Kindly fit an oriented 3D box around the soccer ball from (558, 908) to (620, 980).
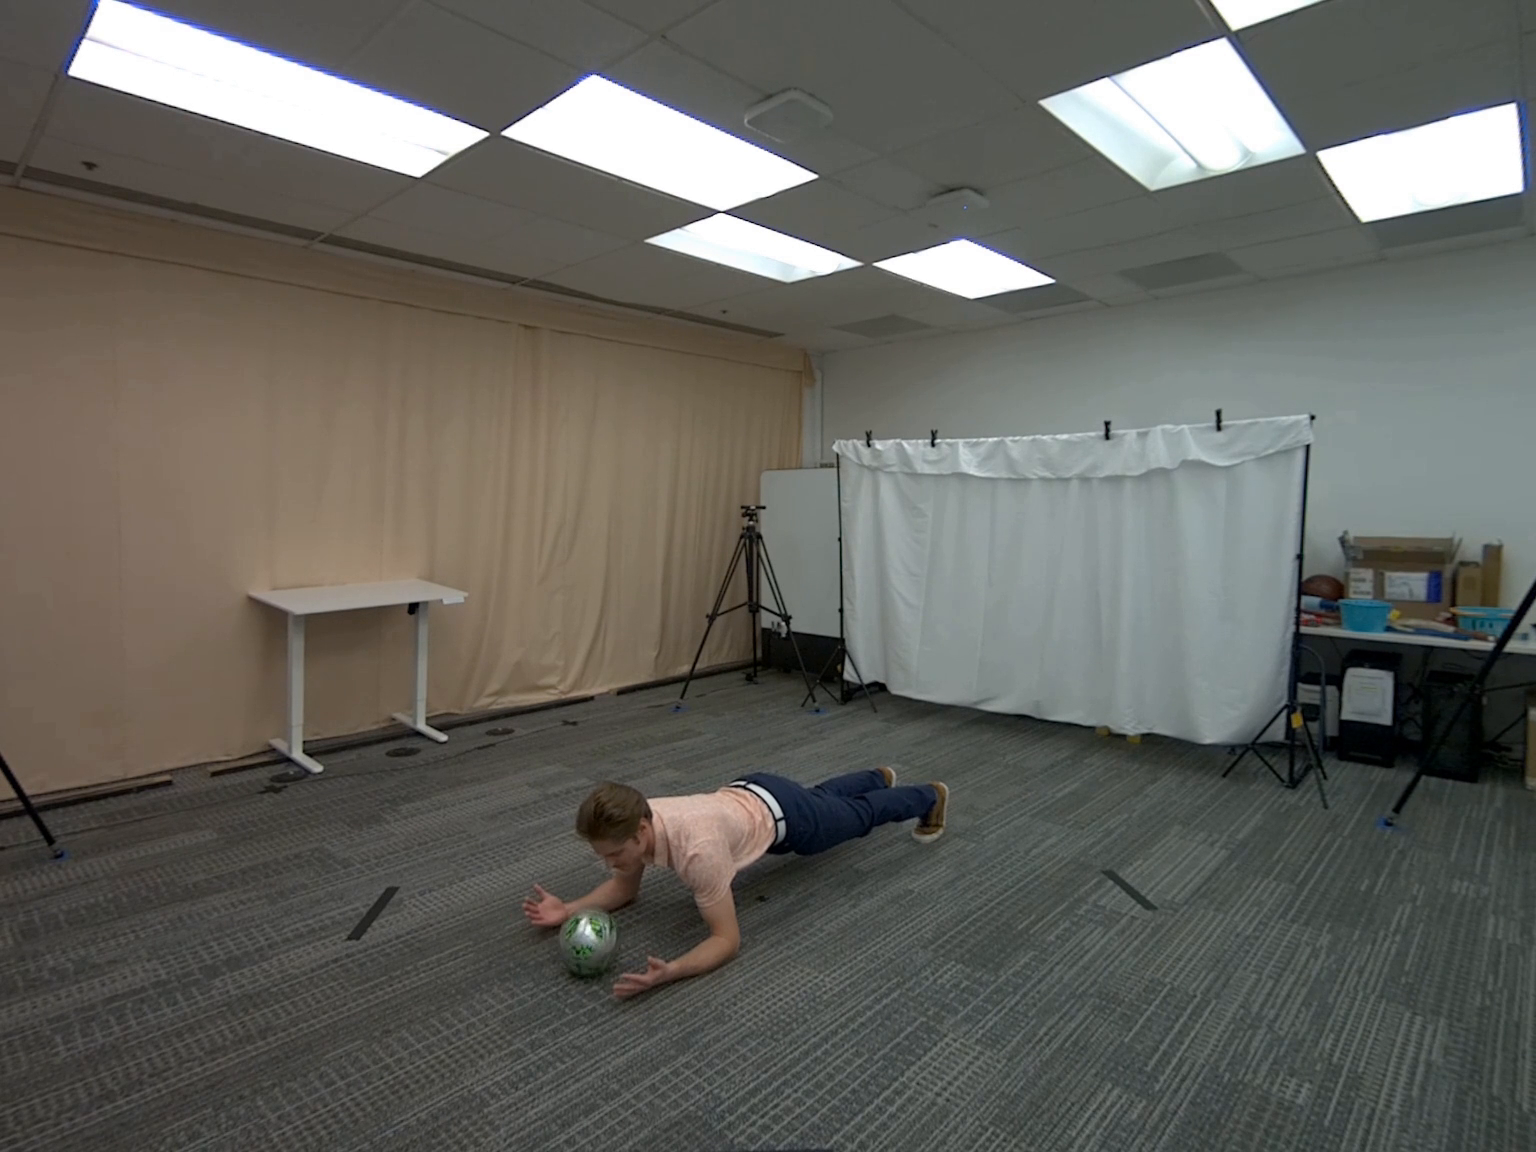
[{"bbox_3d":[-0.536,1.091,2.524,0.187,0.187,0.188,0,4,-2],"label":"soccer ball"}]
